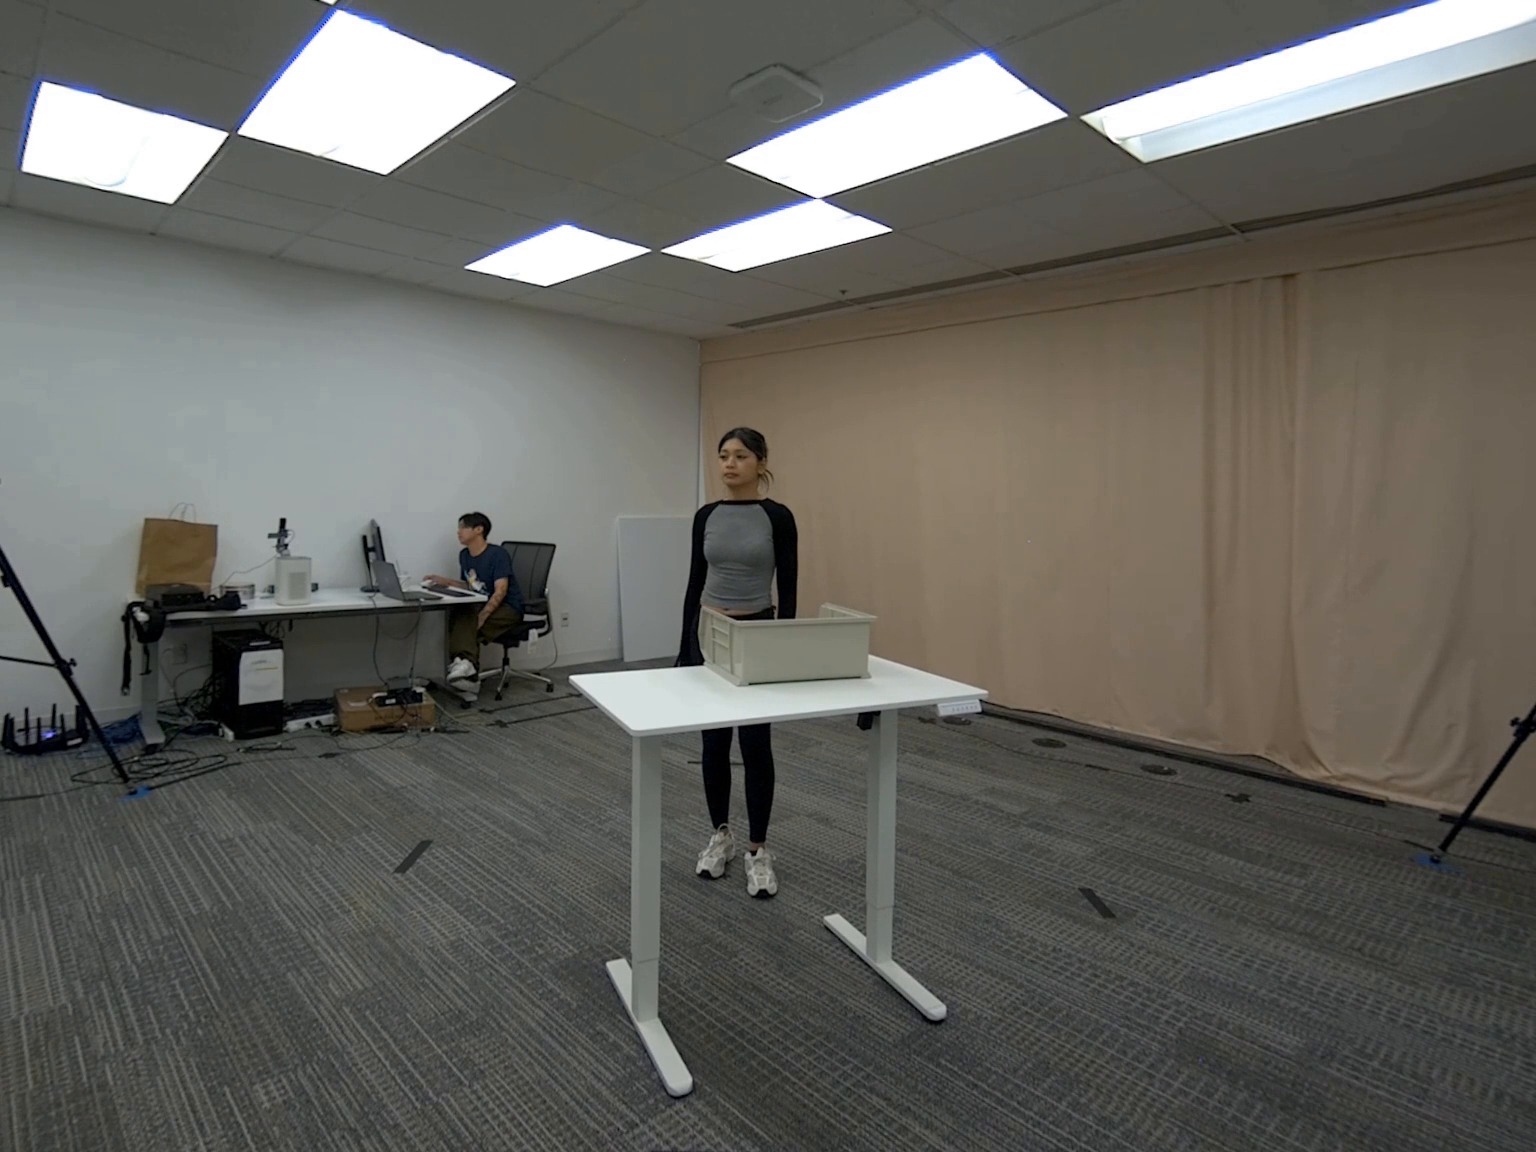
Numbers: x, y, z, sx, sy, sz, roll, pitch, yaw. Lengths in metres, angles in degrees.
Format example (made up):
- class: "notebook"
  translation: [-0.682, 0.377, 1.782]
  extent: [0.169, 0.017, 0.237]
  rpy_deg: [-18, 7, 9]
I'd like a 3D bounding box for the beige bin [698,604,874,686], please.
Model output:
- class: "beige bin"
  translation: [0.042, 0.196, 2.504]
  extent: [0.416, 0.188, 0.384]
  rpy_deg: [0, 6, -21]
